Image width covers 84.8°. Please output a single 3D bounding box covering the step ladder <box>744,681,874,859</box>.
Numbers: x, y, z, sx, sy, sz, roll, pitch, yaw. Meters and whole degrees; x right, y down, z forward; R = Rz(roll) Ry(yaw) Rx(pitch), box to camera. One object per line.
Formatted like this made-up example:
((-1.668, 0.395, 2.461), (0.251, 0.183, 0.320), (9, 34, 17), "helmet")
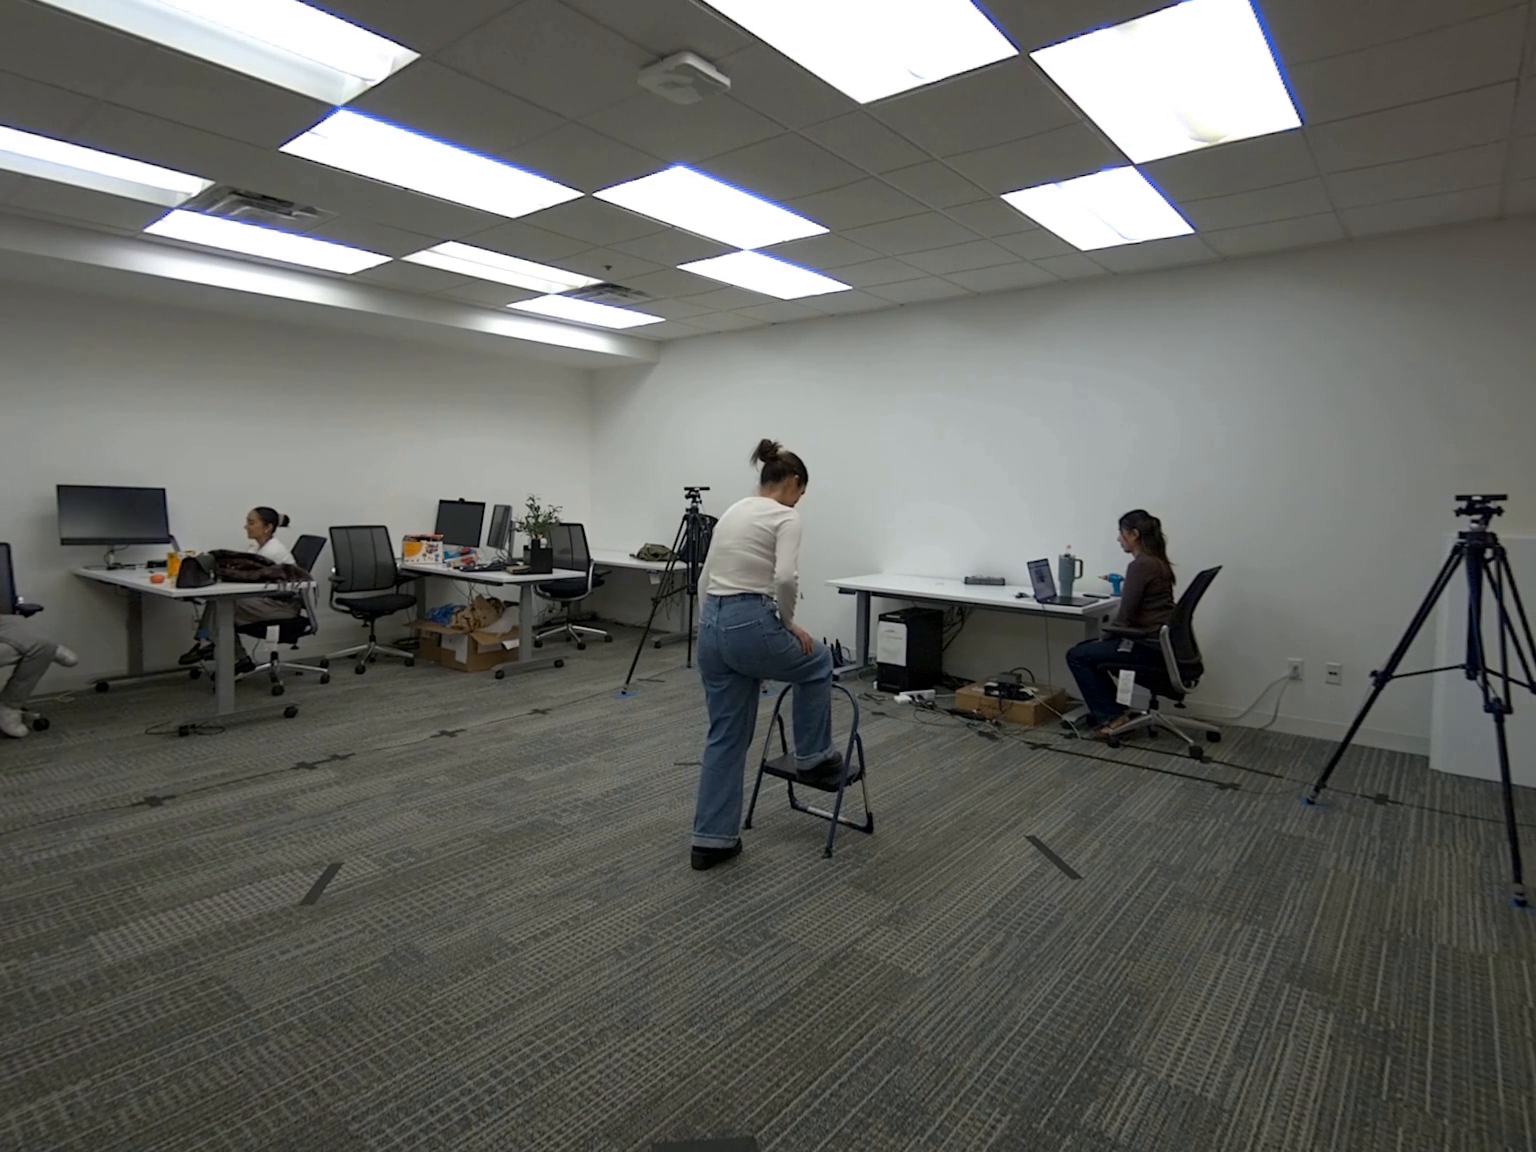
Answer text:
((0.166, 0.735, 3.463), (0.445, 0.604, 0.339), (5, 4, 39), "step ladder")
